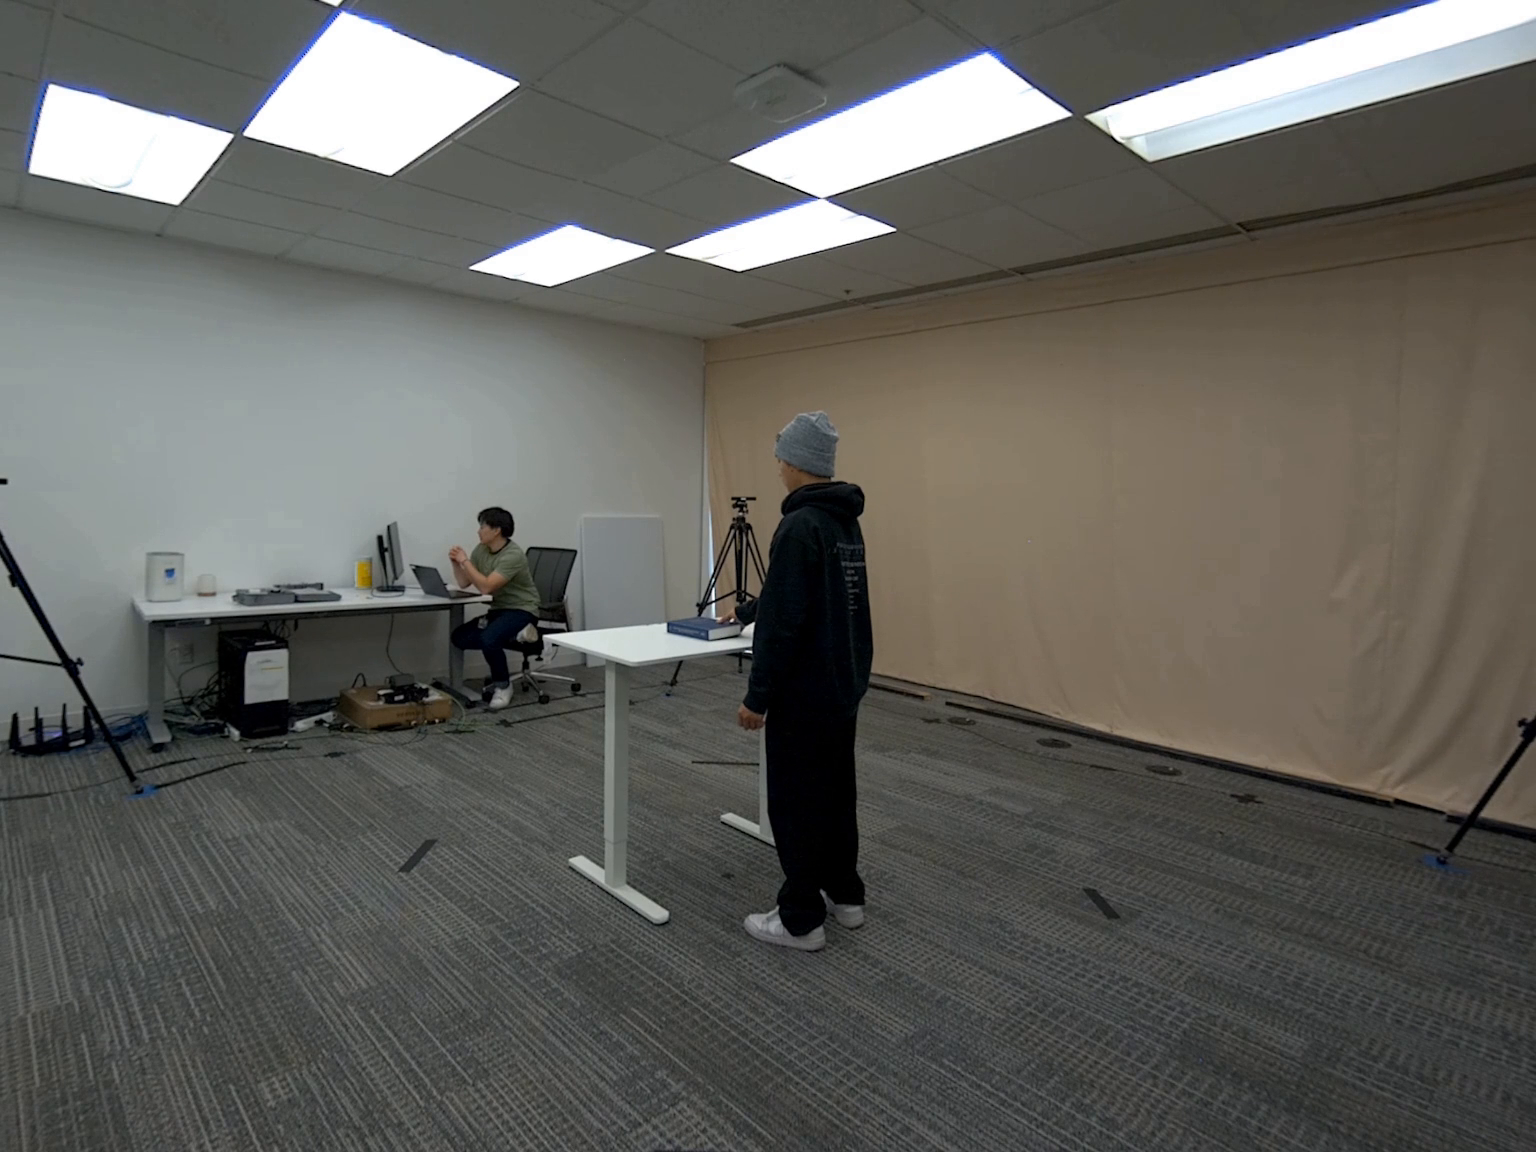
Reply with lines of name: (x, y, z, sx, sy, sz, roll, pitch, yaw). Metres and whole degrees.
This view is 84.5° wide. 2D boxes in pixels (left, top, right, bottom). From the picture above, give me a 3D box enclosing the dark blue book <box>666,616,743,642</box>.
dark blue book: (-0.255, 0.200, 3.130, 0.160, 0.045, 0.251, -7, 8, -41)
